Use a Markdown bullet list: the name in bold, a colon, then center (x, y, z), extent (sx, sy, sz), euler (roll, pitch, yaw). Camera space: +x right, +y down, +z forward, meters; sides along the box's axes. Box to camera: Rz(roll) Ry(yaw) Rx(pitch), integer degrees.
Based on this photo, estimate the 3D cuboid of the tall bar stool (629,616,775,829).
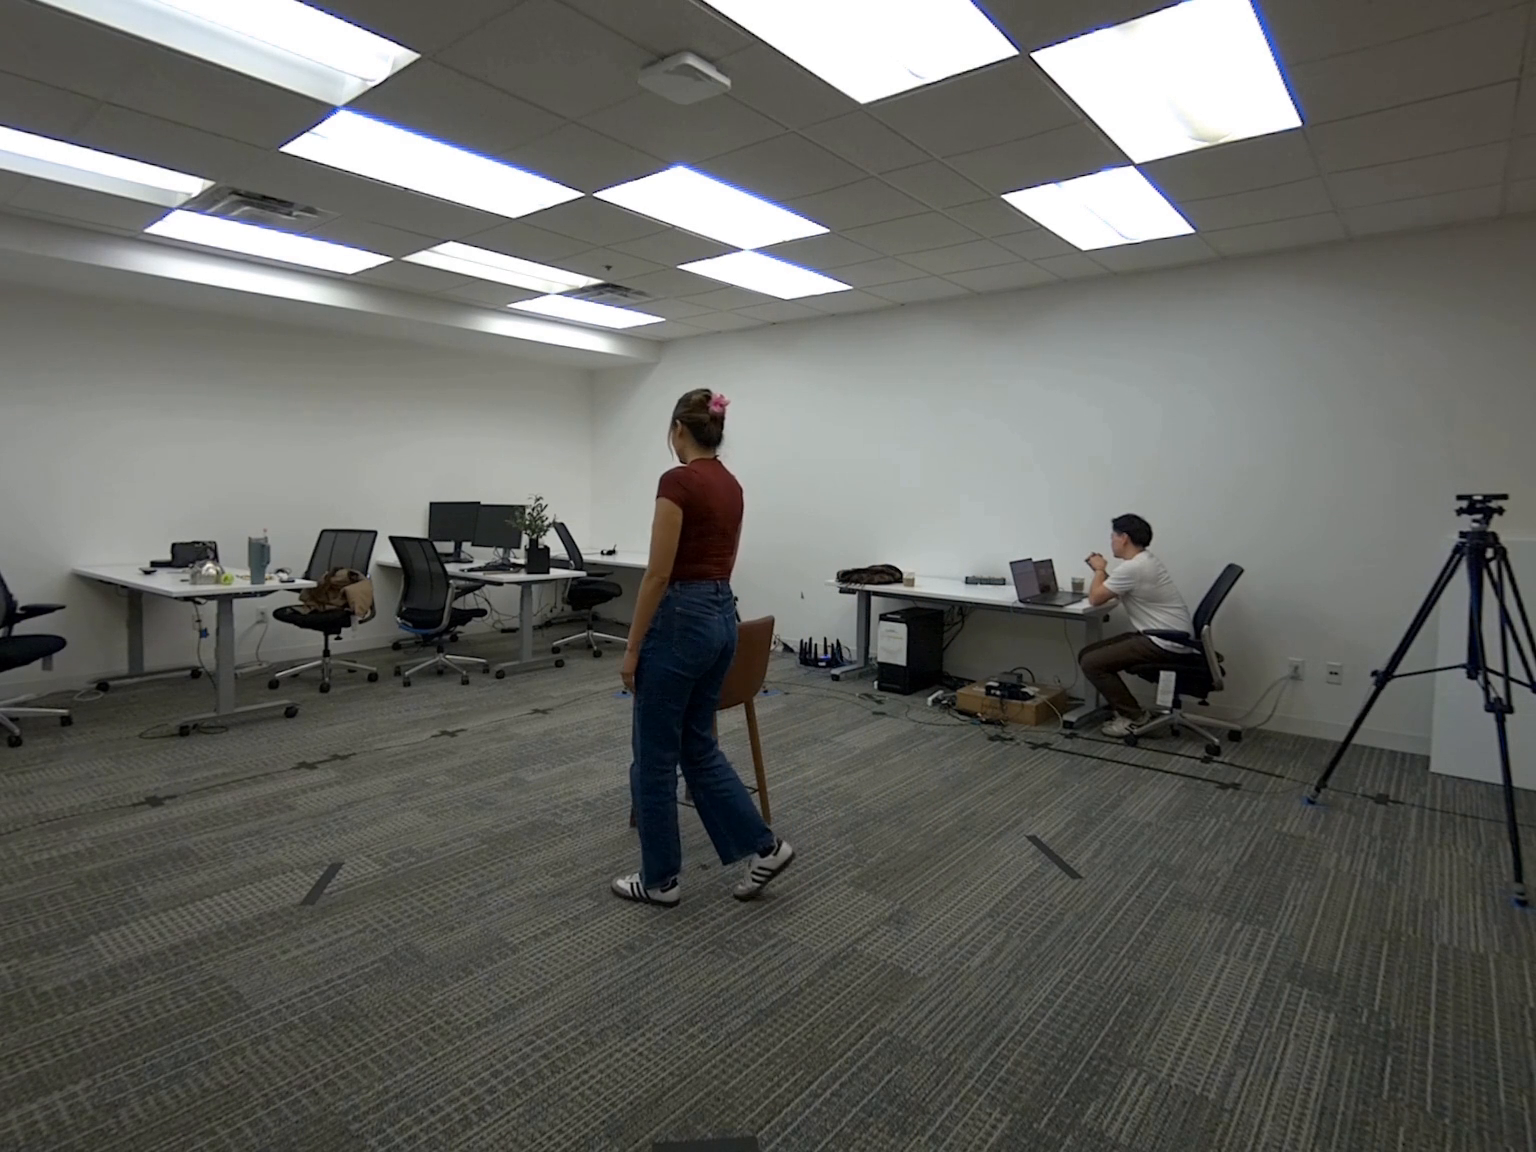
- **tall bar stool**: center (-0.269, 0.593, 3.498), extent (0.482, 0.886, 0.444), euler (5, 5, 33)
